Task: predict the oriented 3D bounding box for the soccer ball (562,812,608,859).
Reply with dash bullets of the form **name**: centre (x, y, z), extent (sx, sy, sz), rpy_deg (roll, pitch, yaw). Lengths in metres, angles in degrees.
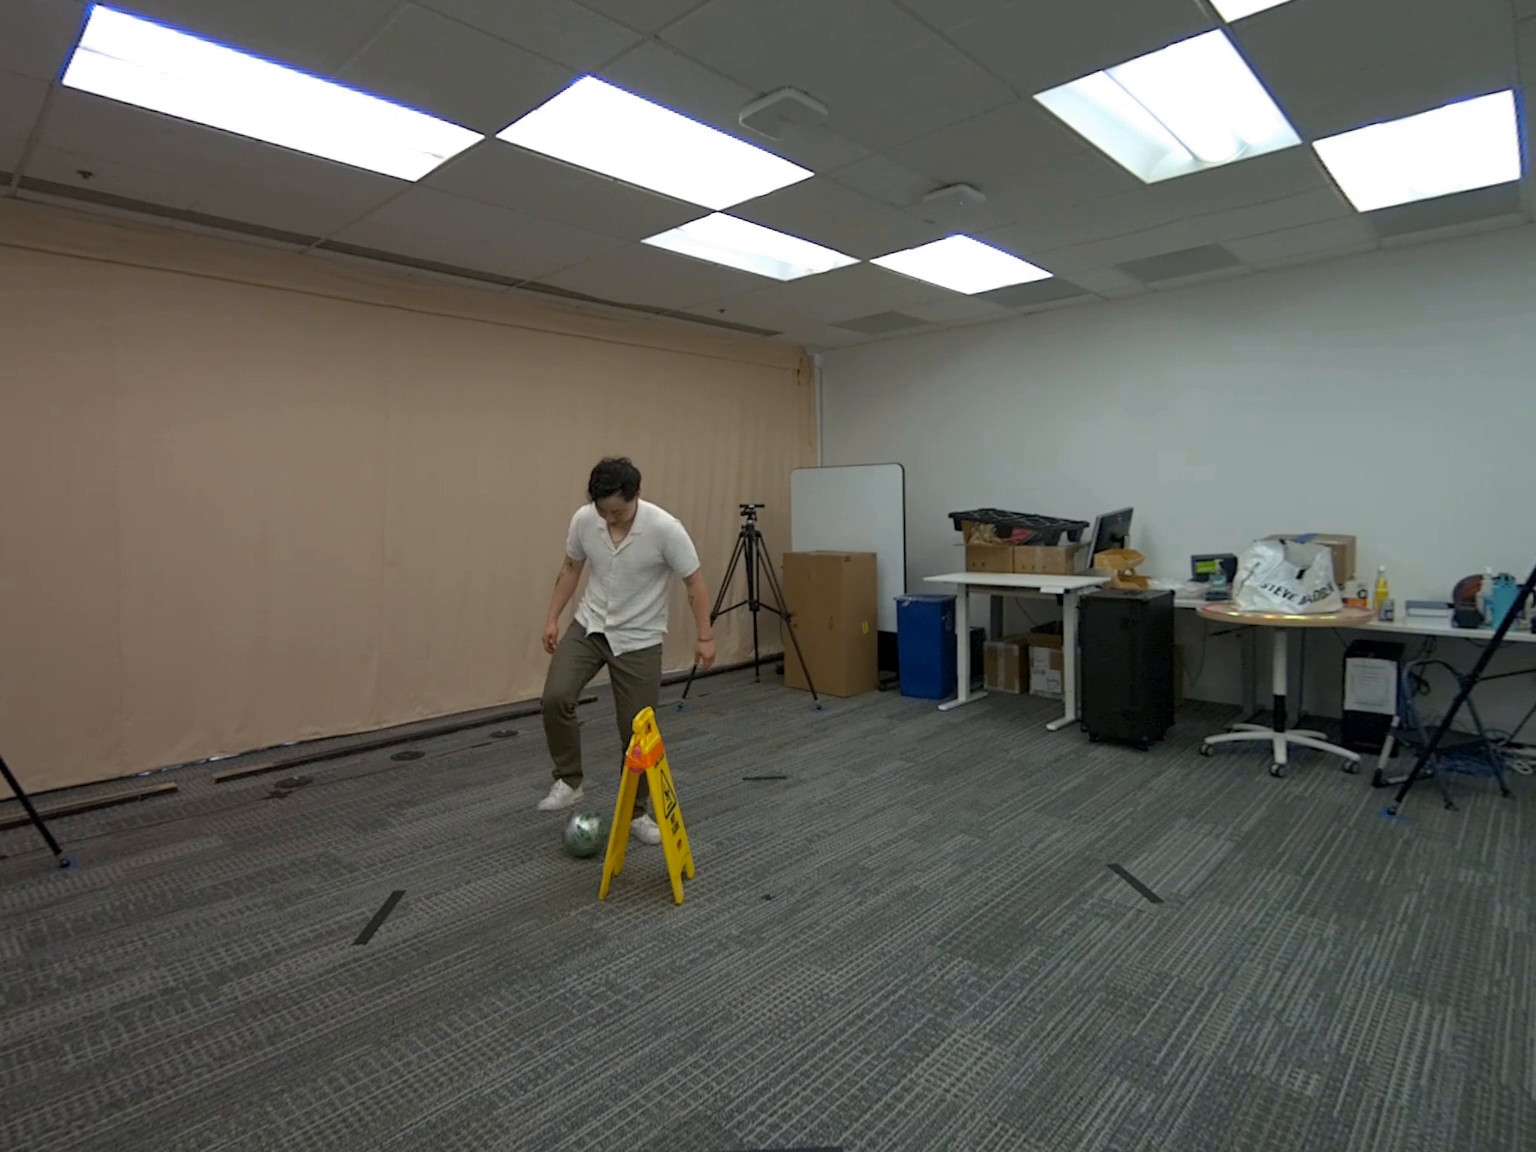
- **soccer ball**: centre (-0.729, 1.028, 3.382), extent (0.187, 0.187, 0.188), rpy_deg (-1, 4, -2)
